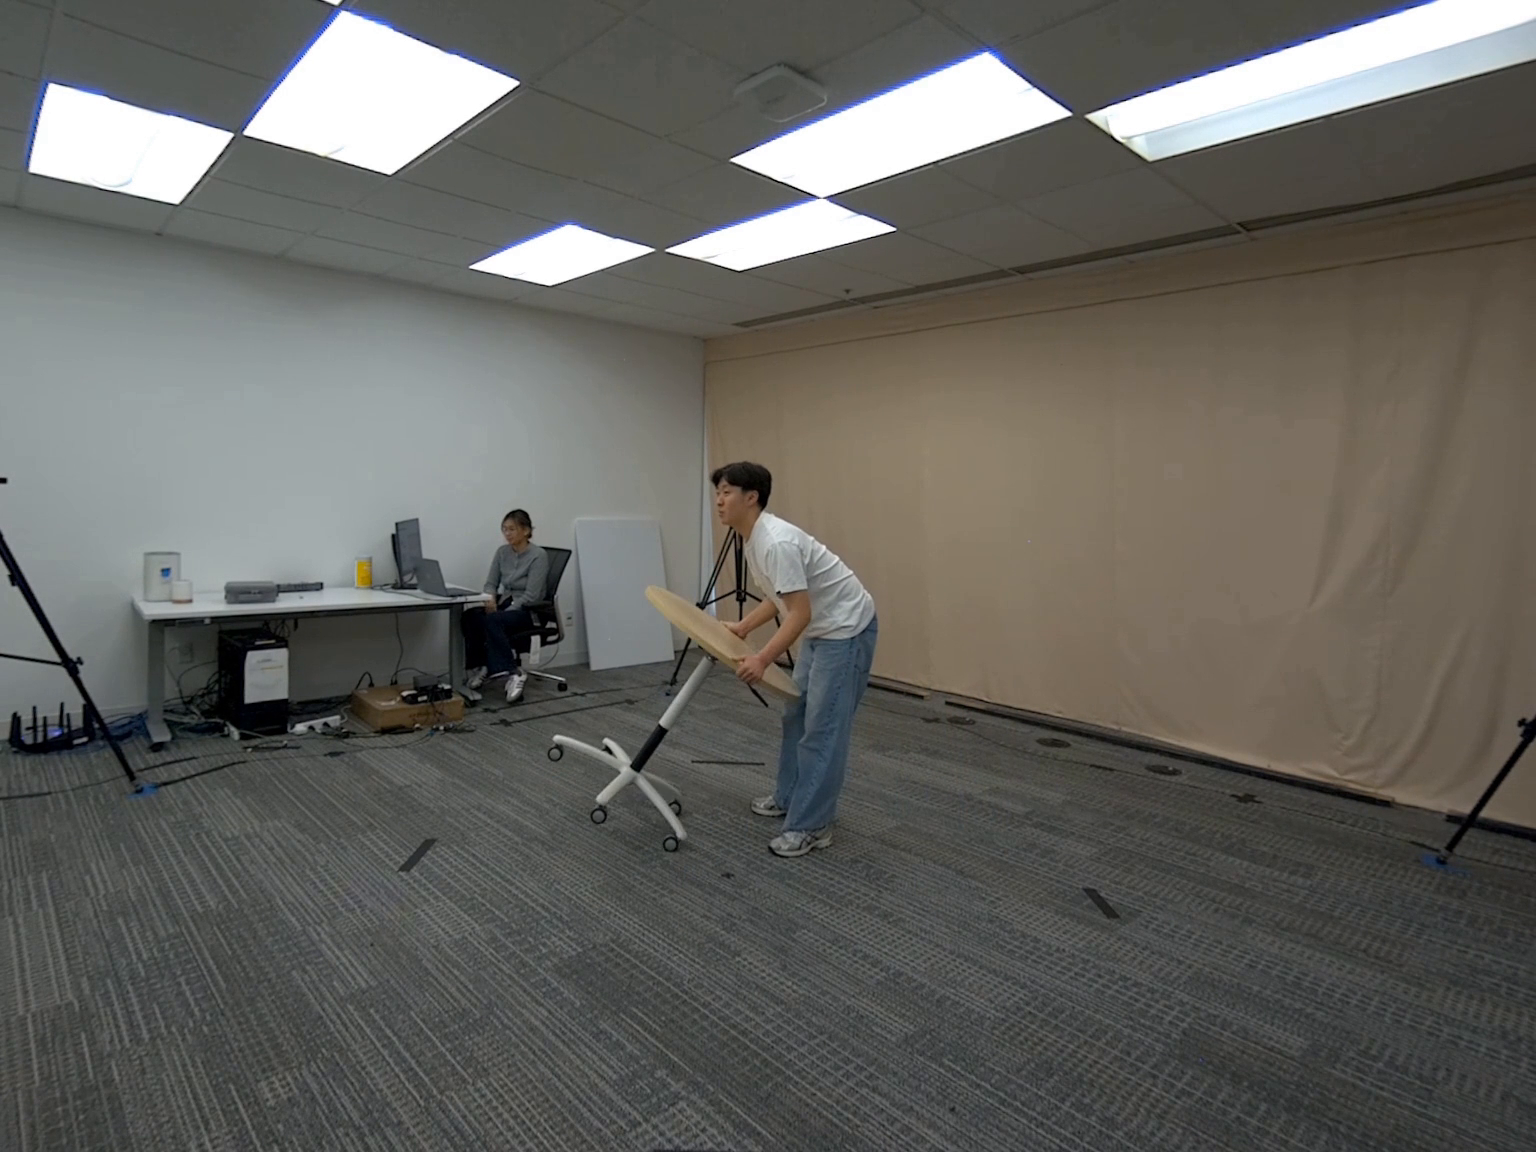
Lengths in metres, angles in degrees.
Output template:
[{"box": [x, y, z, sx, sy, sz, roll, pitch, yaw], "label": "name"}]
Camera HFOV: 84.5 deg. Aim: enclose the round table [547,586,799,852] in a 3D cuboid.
[{"box": [-0.413, 0.579, 3.445, 0.784, 0.786, 0.787, 34, 1, -3], "label": "round table"}]
